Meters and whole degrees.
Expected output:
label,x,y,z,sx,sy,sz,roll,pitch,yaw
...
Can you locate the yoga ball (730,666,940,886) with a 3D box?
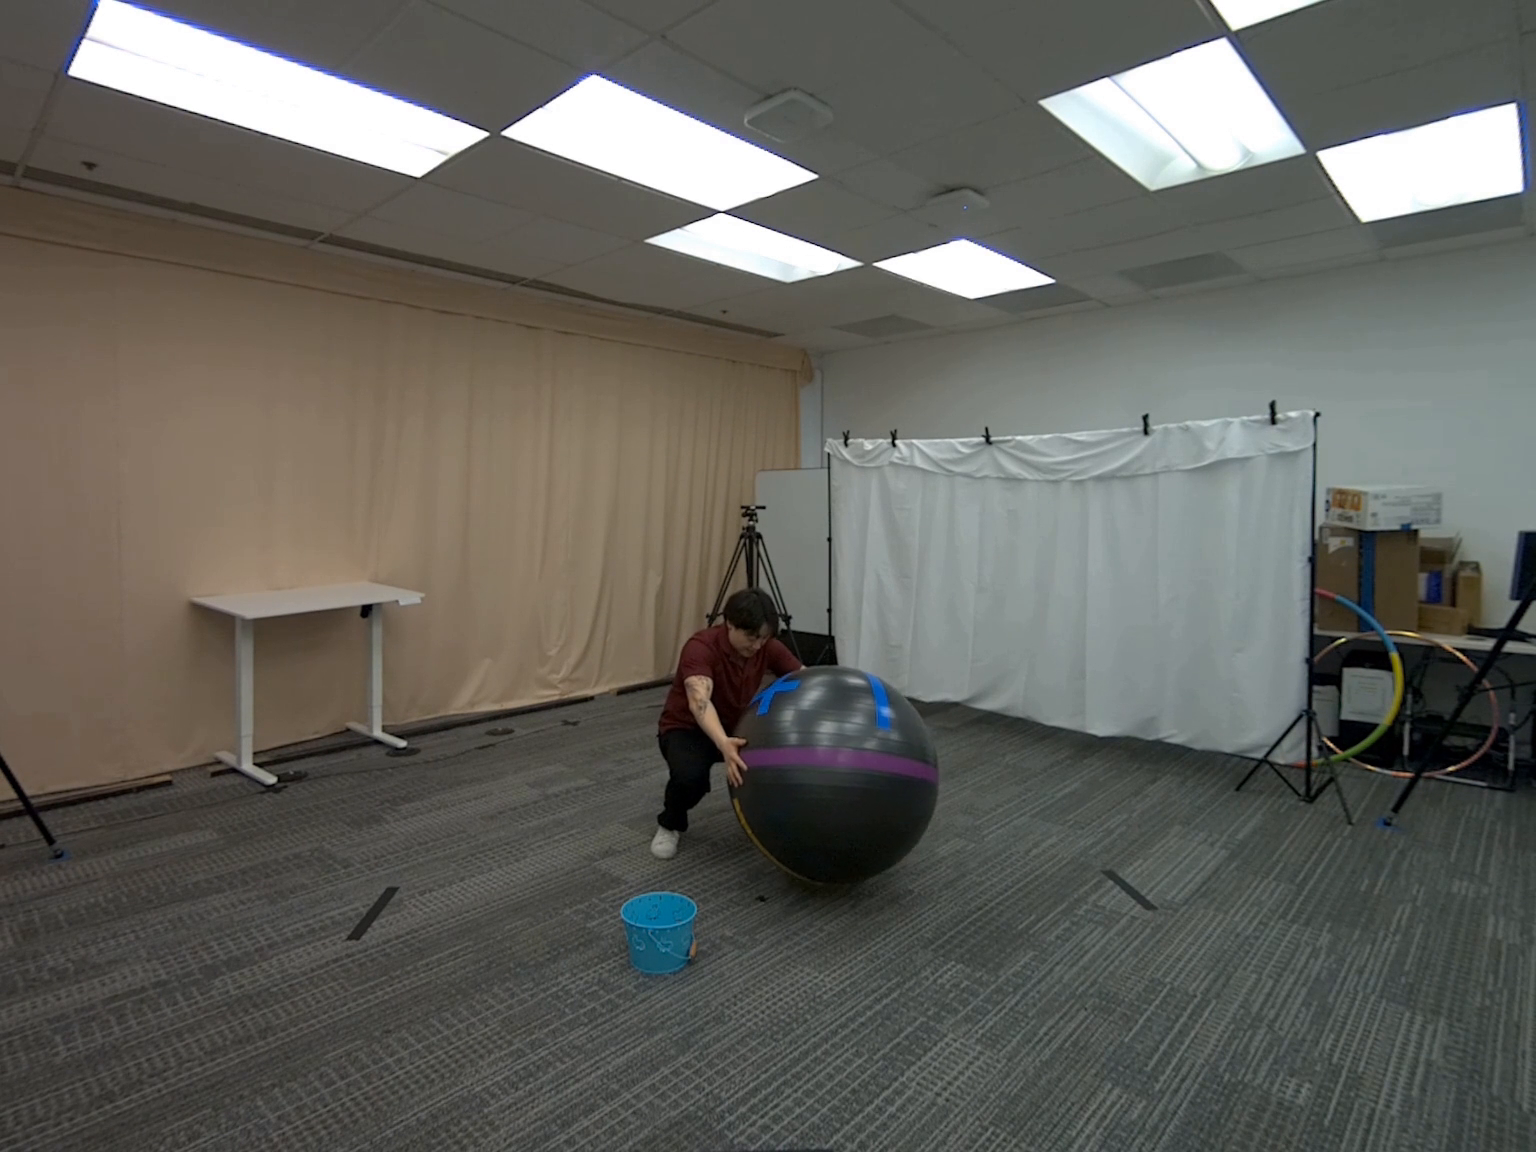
label,x,y,z,sx,sy,sz,roll,pitch,yaw
yoga ball,0.241,0.710,3.063,0.757,0.756,0.760,0,4,-2
